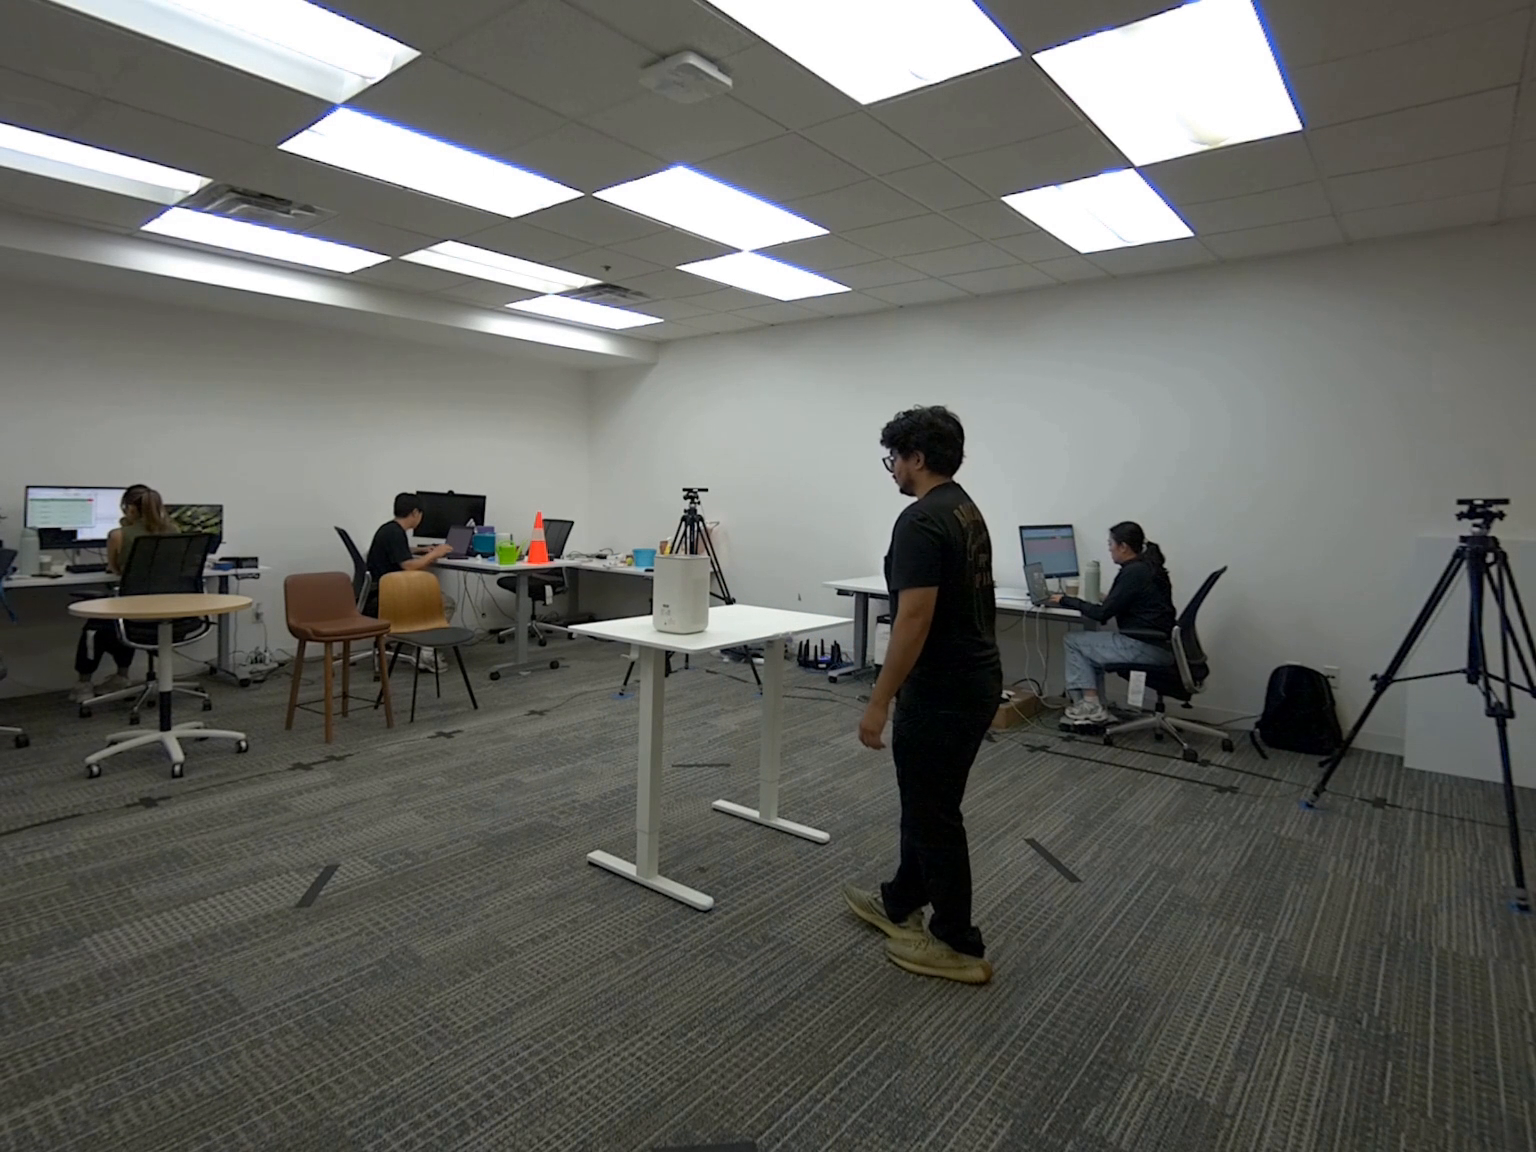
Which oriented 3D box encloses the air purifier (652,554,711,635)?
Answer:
[{"bbox_3d":[-0.317,0.059,3.005,0.176,0.265,0.167,4,4,32],"label":"air purifier"}]
